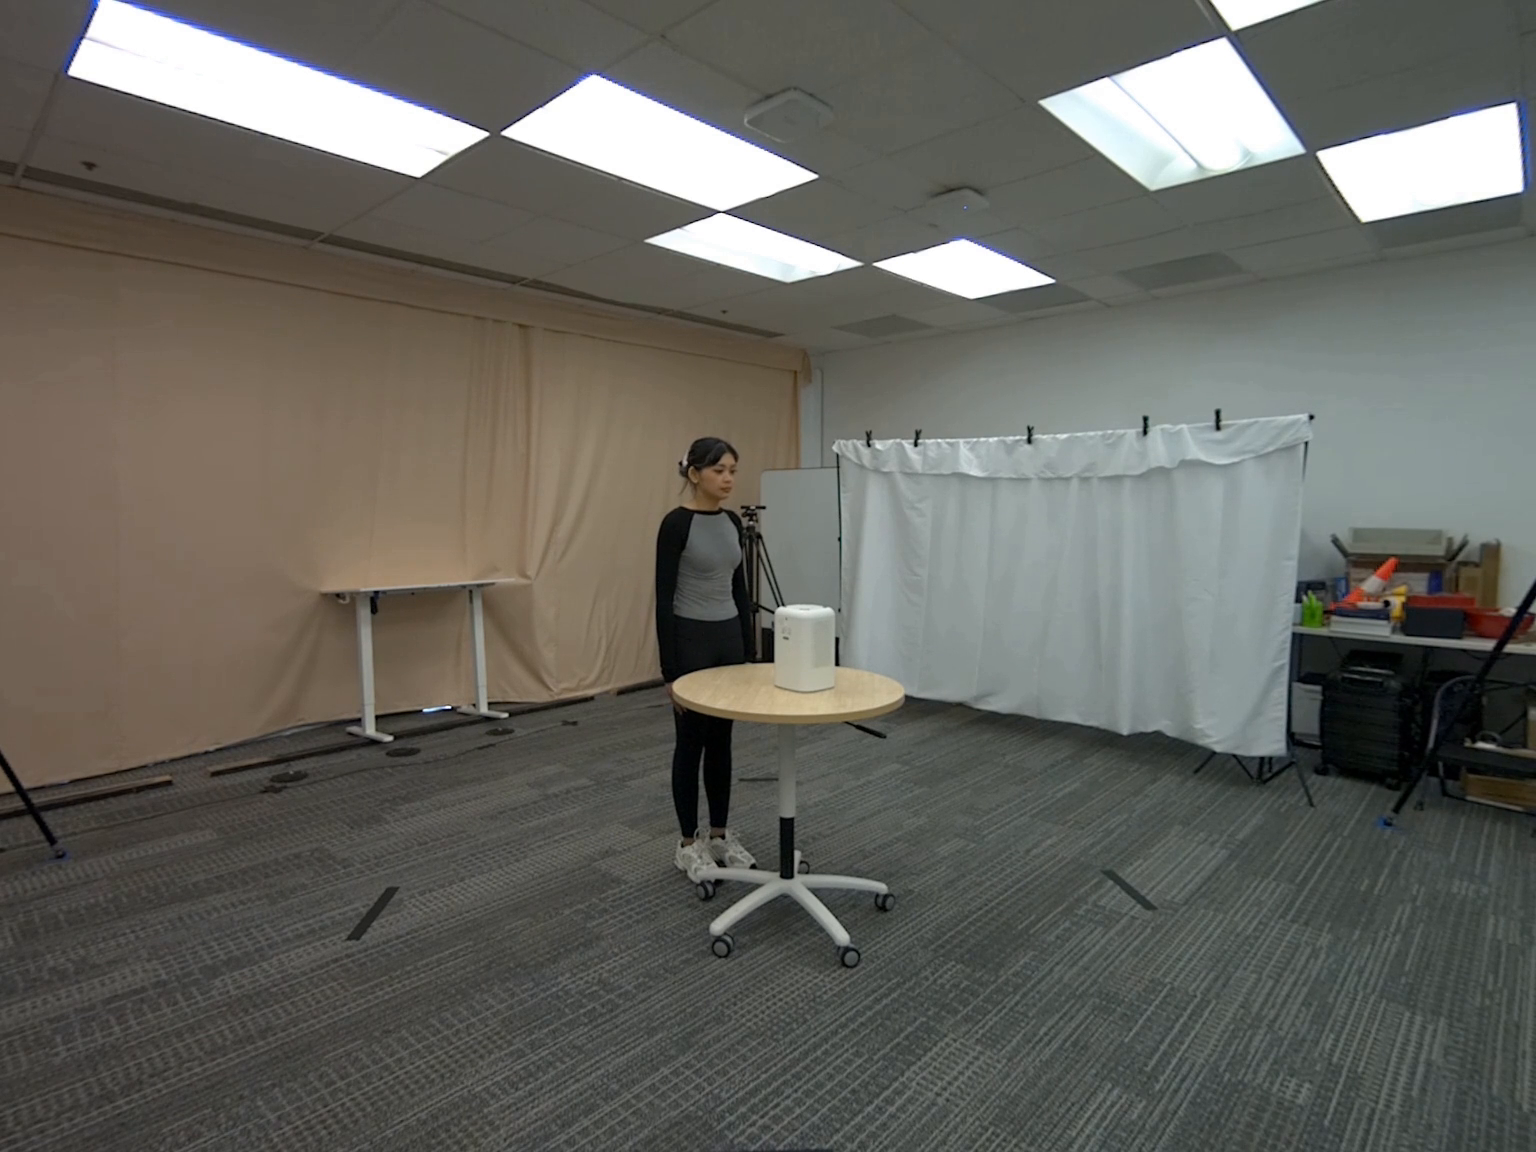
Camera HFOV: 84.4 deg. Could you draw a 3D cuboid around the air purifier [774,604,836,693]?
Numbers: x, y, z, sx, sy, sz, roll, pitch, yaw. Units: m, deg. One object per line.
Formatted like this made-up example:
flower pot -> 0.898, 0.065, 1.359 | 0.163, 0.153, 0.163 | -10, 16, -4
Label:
air purifier -> 0.125, 0.234, 2.787 | 0.166, 0.265, 0.177 | -3, 5, -42
